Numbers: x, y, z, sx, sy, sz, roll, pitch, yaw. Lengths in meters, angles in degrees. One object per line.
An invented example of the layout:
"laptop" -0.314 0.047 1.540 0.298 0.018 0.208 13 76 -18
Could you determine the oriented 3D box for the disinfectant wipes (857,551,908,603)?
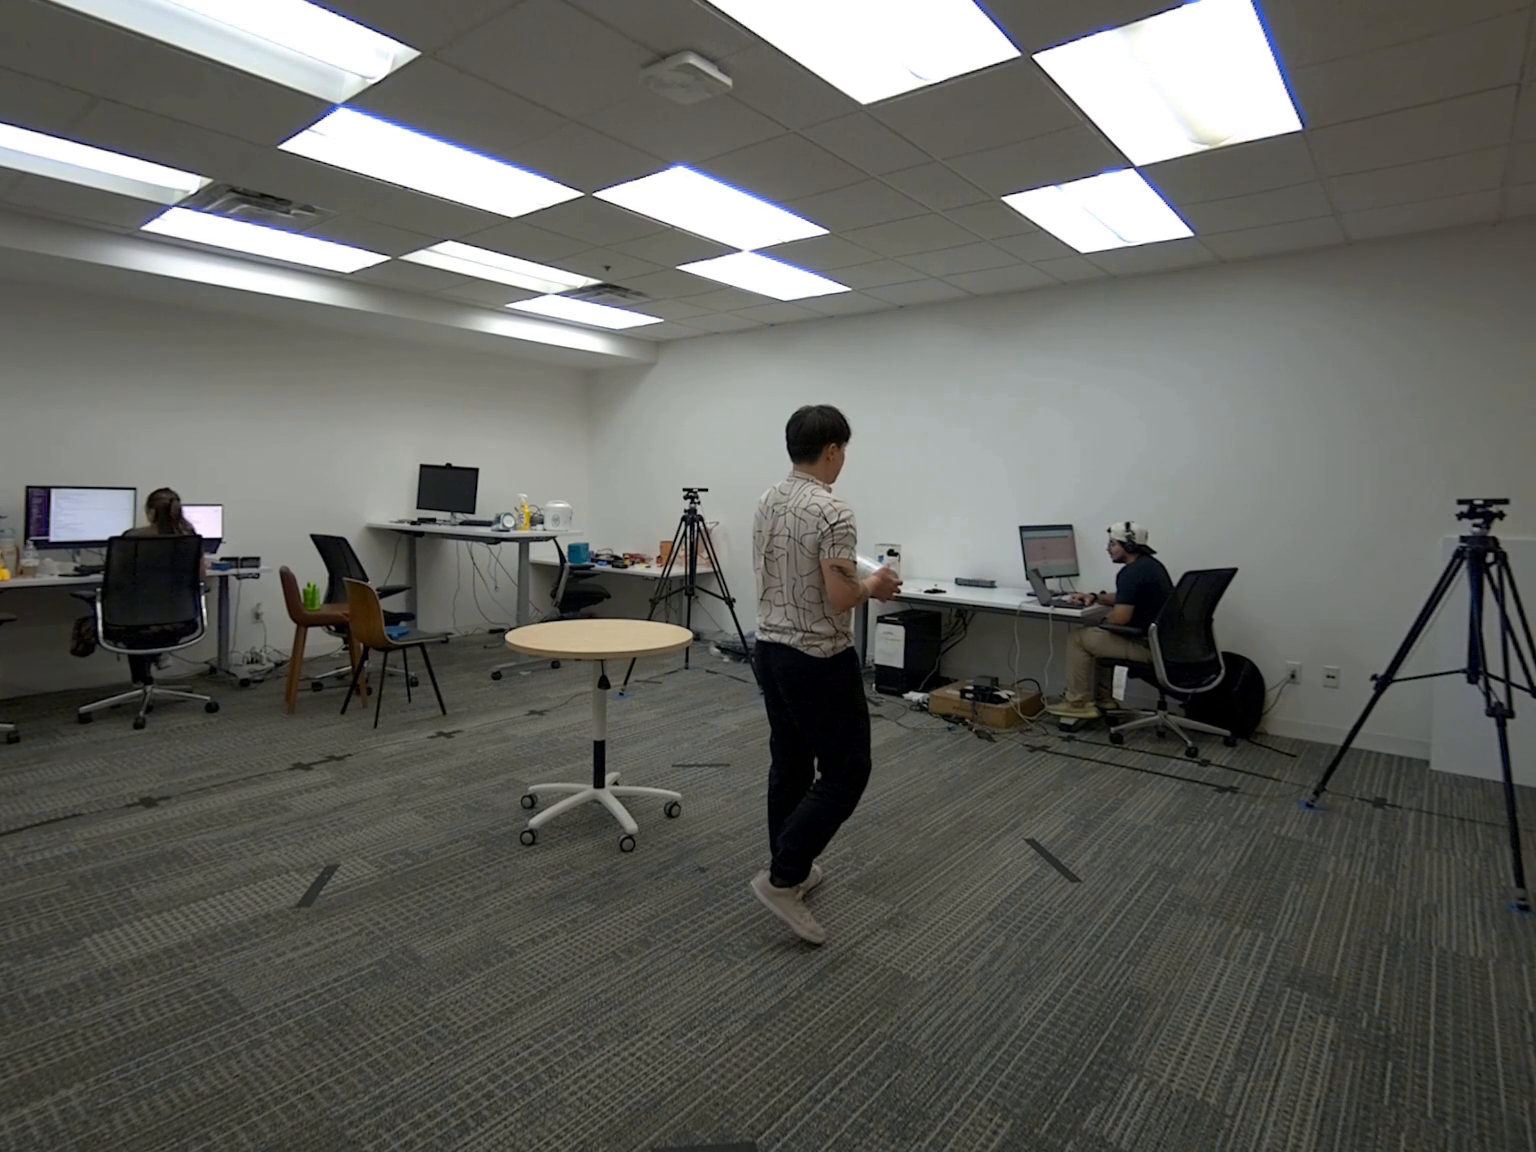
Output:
"disinfectant wipes" 0.357 -0.002 2.925 0.114 0.116 0.226 -1 16 -31
